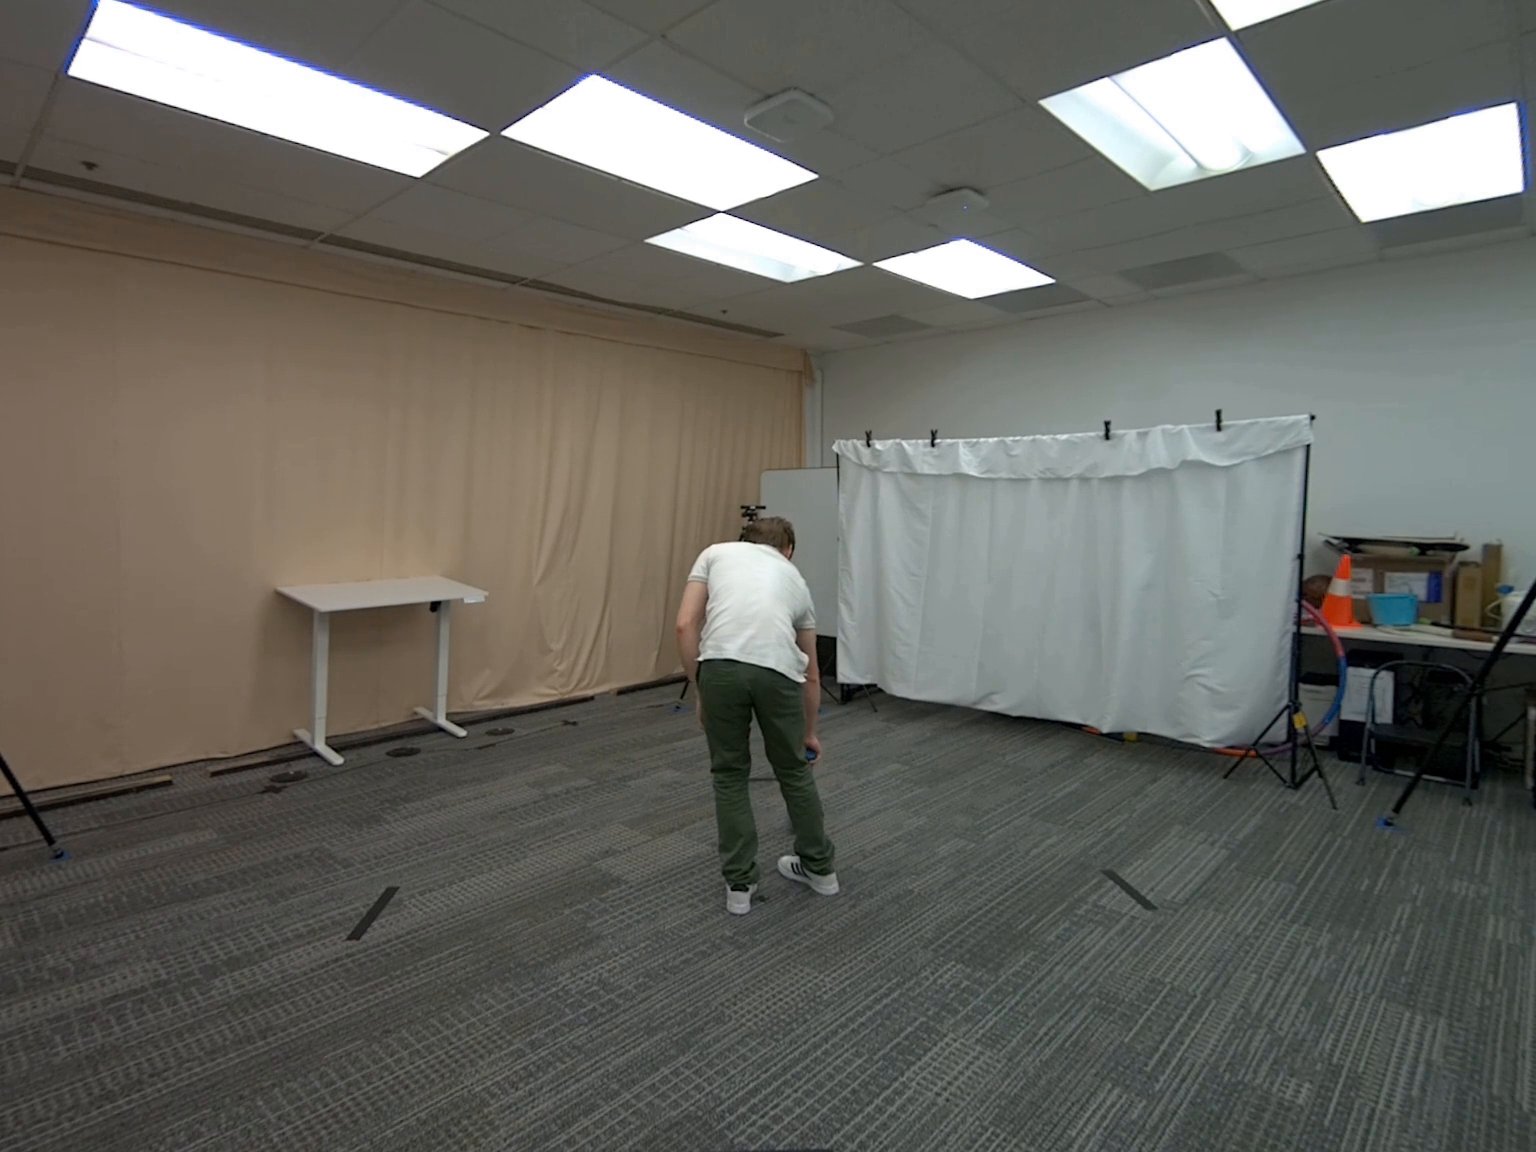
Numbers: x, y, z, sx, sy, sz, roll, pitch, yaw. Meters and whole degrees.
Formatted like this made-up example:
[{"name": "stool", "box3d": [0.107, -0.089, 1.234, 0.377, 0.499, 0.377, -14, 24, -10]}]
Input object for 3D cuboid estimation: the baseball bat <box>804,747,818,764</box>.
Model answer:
[{"name": "baseball bat", "box3d": [0.136, 0.885, 3.441, 0.089, 0.534, 0.091, 2, 46, -4]}]
